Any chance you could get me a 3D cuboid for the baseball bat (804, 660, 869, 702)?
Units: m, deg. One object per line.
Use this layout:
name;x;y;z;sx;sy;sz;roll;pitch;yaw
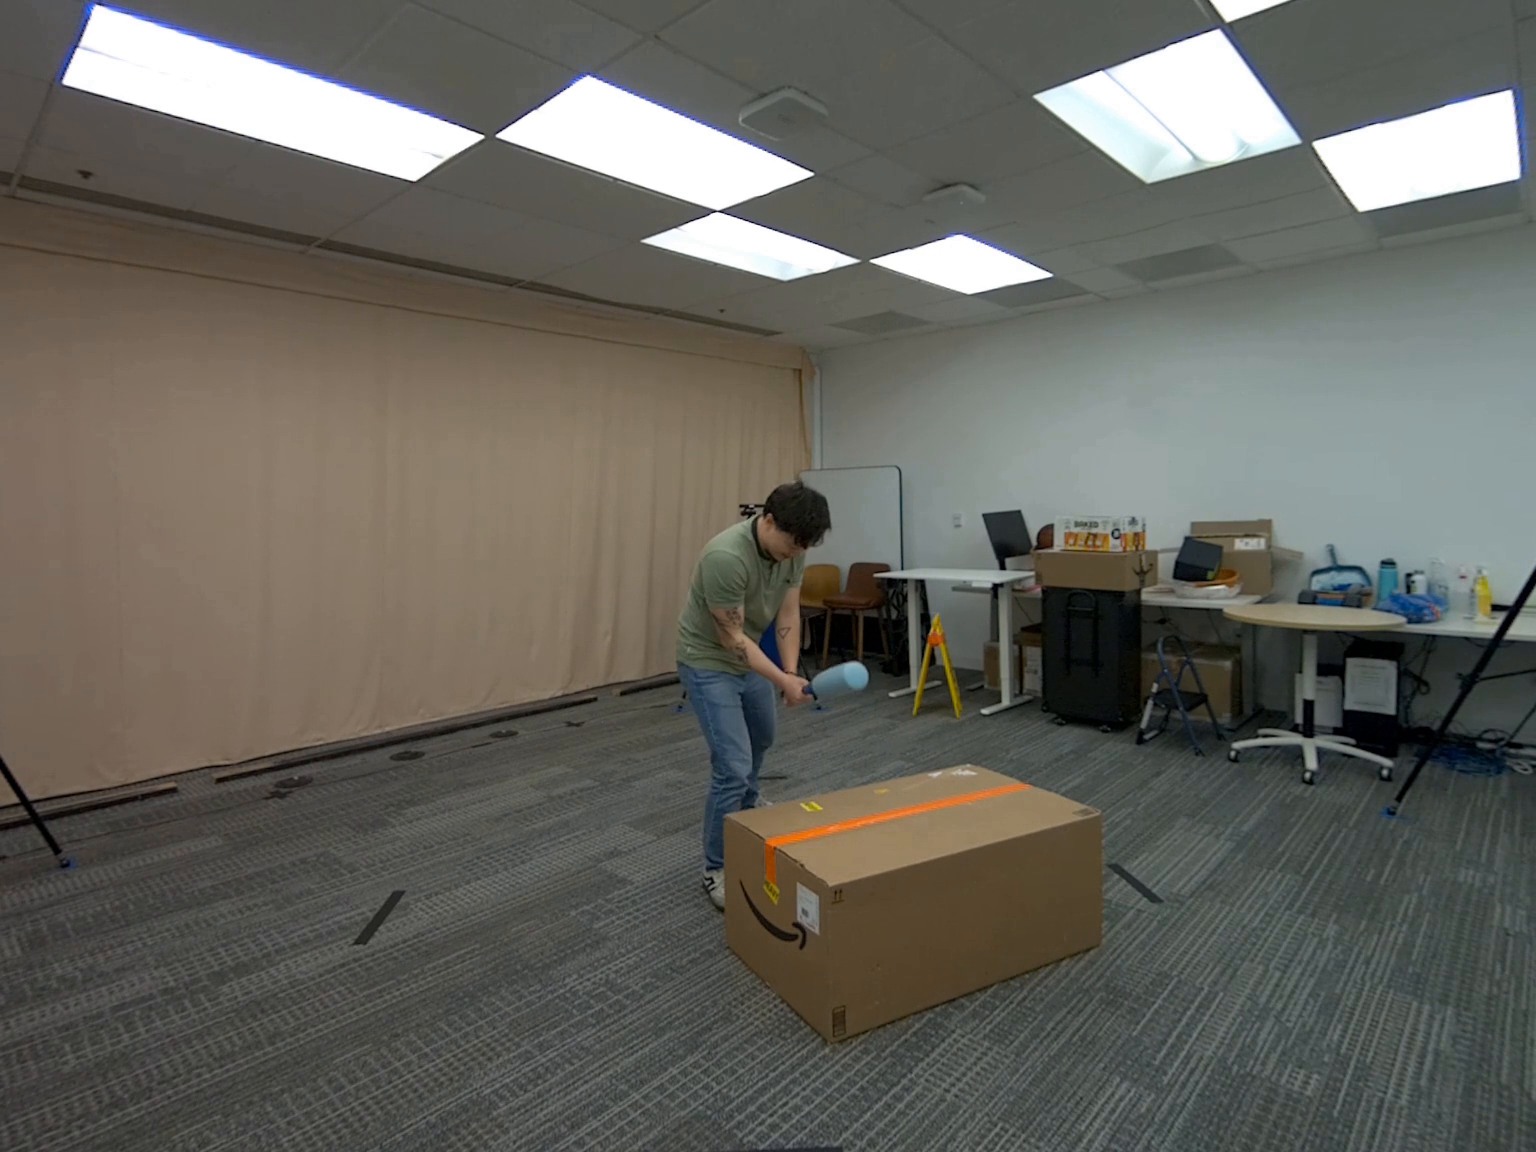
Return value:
baseball bat;0.168;0.347;2.707;0.087;0.090;0.546;-1;-14;-17
